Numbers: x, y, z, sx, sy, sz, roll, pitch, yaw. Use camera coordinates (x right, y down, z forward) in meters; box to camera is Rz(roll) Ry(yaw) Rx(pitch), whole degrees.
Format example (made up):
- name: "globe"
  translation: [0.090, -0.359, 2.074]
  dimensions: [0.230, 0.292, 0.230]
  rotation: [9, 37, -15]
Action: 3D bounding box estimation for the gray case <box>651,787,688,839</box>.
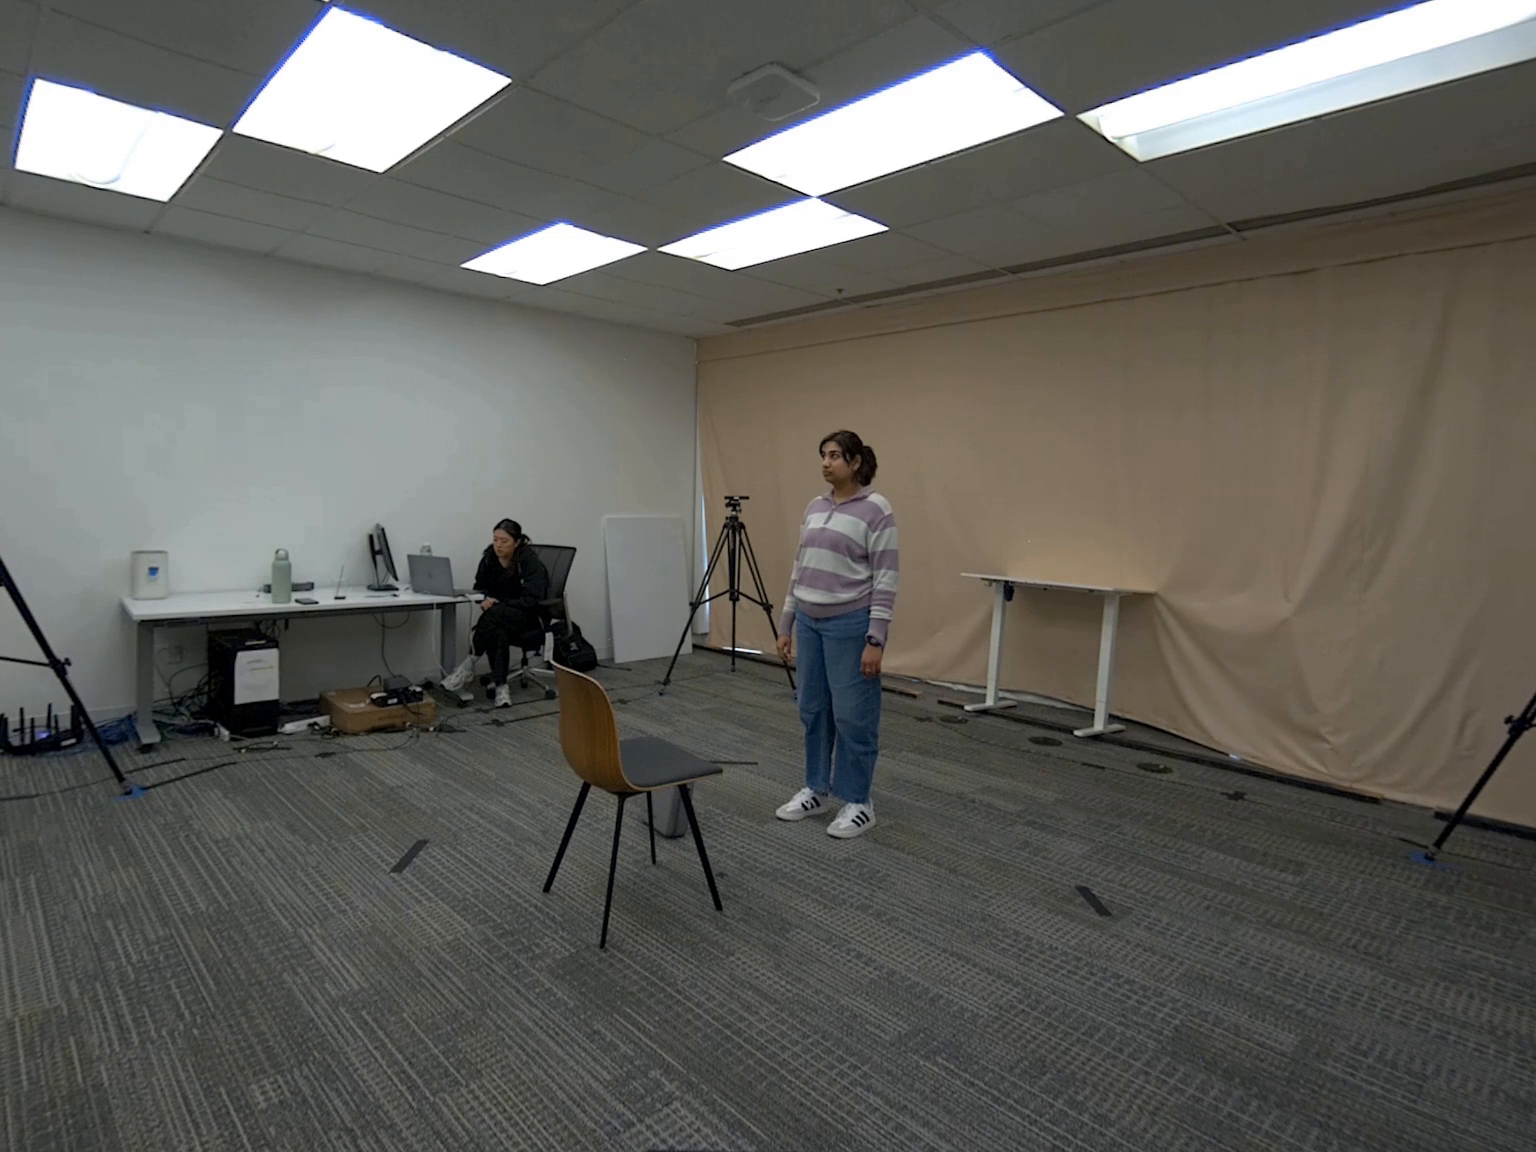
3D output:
- name: "gray case"
  translation: [-0.432, 0.922, 3.527]
  dimensions: [0.102, 0.261, 0.263]
  rotation: [7, 0, -31]
